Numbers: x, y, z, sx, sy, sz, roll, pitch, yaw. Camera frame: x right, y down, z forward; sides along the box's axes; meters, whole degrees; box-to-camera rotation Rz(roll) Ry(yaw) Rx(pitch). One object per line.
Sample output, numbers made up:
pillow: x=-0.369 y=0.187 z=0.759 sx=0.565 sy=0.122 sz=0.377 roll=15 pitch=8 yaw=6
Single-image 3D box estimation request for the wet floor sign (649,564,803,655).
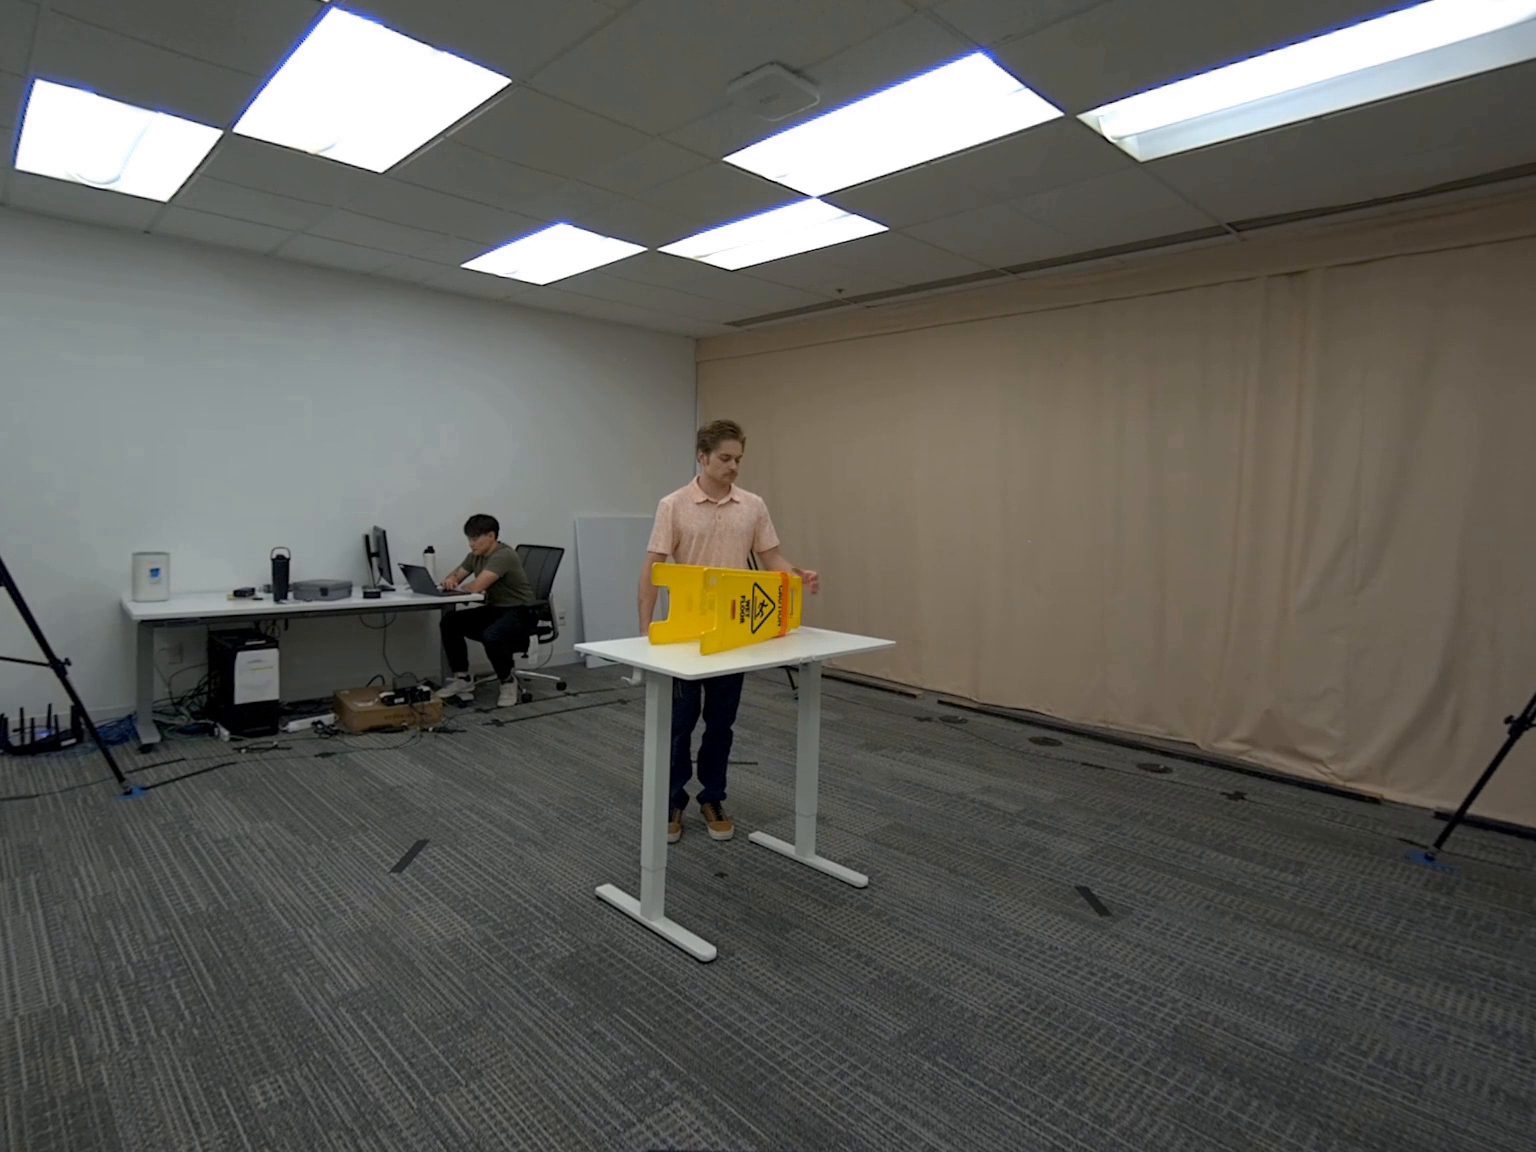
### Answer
wet floor sign: x=-0.100 y=0.107 z=2.993 sx=0.297 sy=0.282 sz=0.631 roll=5 pitch=3 yaw=43
